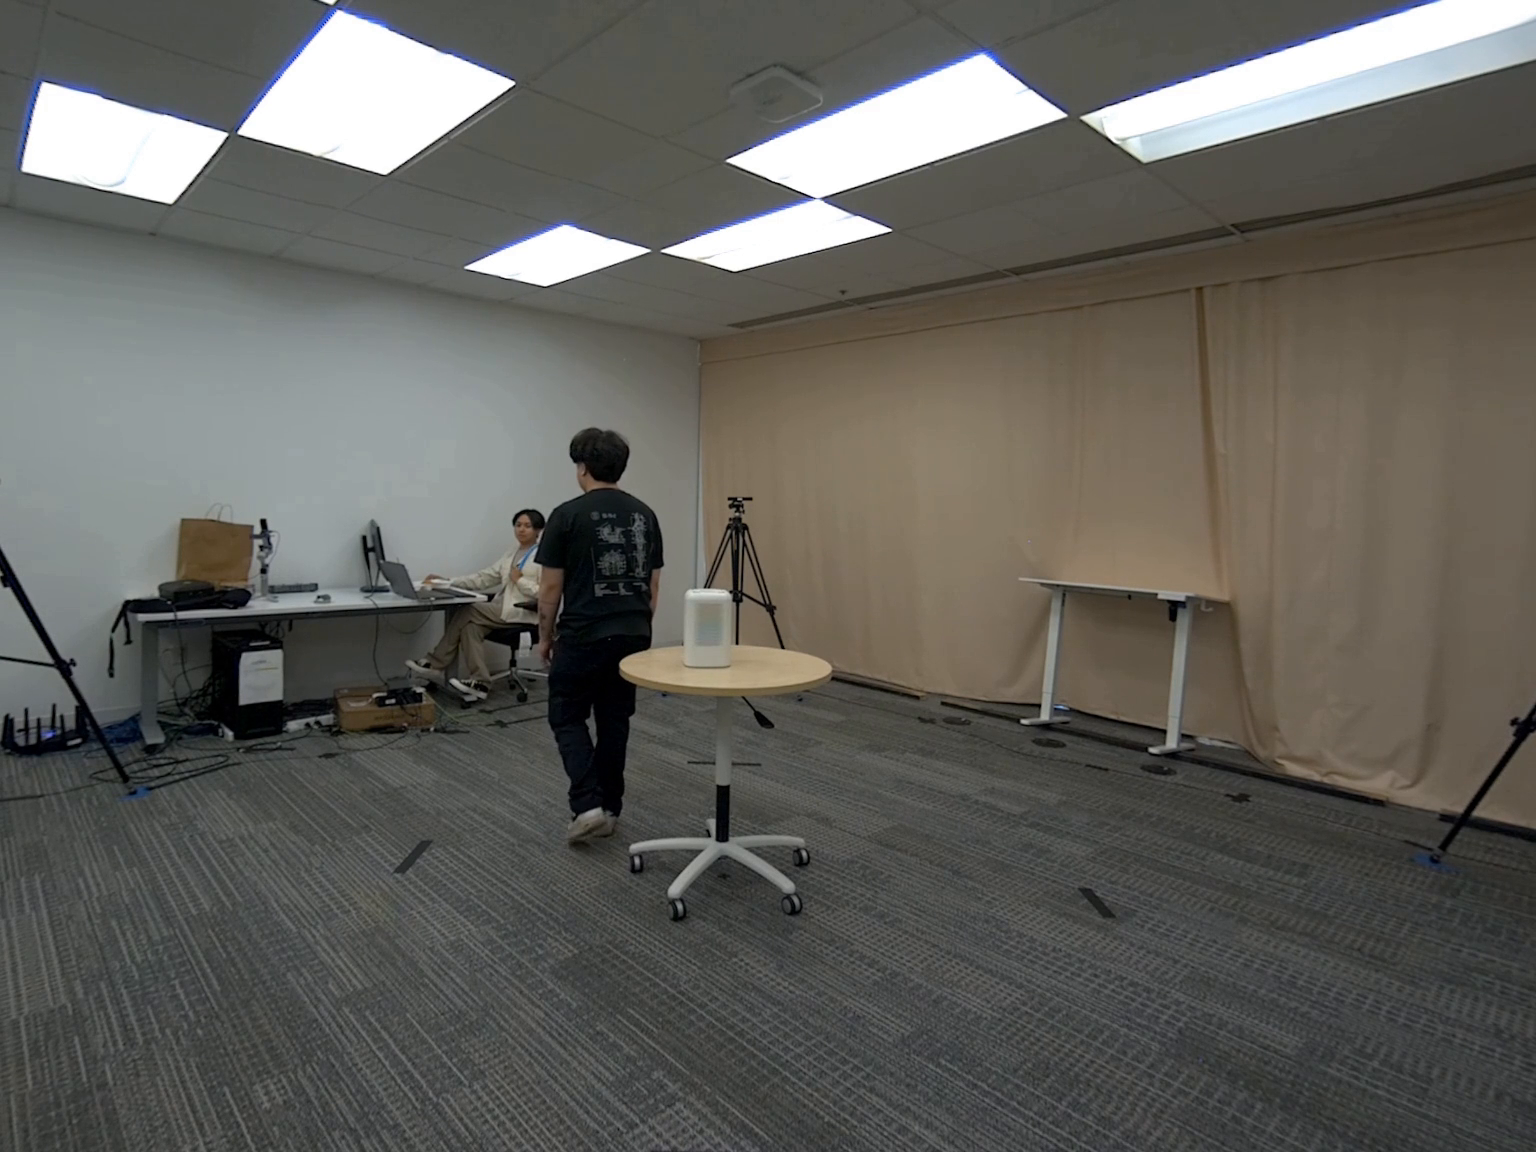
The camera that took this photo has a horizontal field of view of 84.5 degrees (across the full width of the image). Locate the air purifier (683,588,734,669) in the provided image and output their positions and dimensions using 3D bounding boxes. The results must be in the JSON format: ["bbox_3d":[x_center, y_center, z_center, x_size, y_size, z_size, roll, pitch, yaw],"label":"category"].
[{"bbox_3d":[-0.222,0.186,3.044,0.171,0.264,0.172,0,4,-5],"label":"air purifier"}]
